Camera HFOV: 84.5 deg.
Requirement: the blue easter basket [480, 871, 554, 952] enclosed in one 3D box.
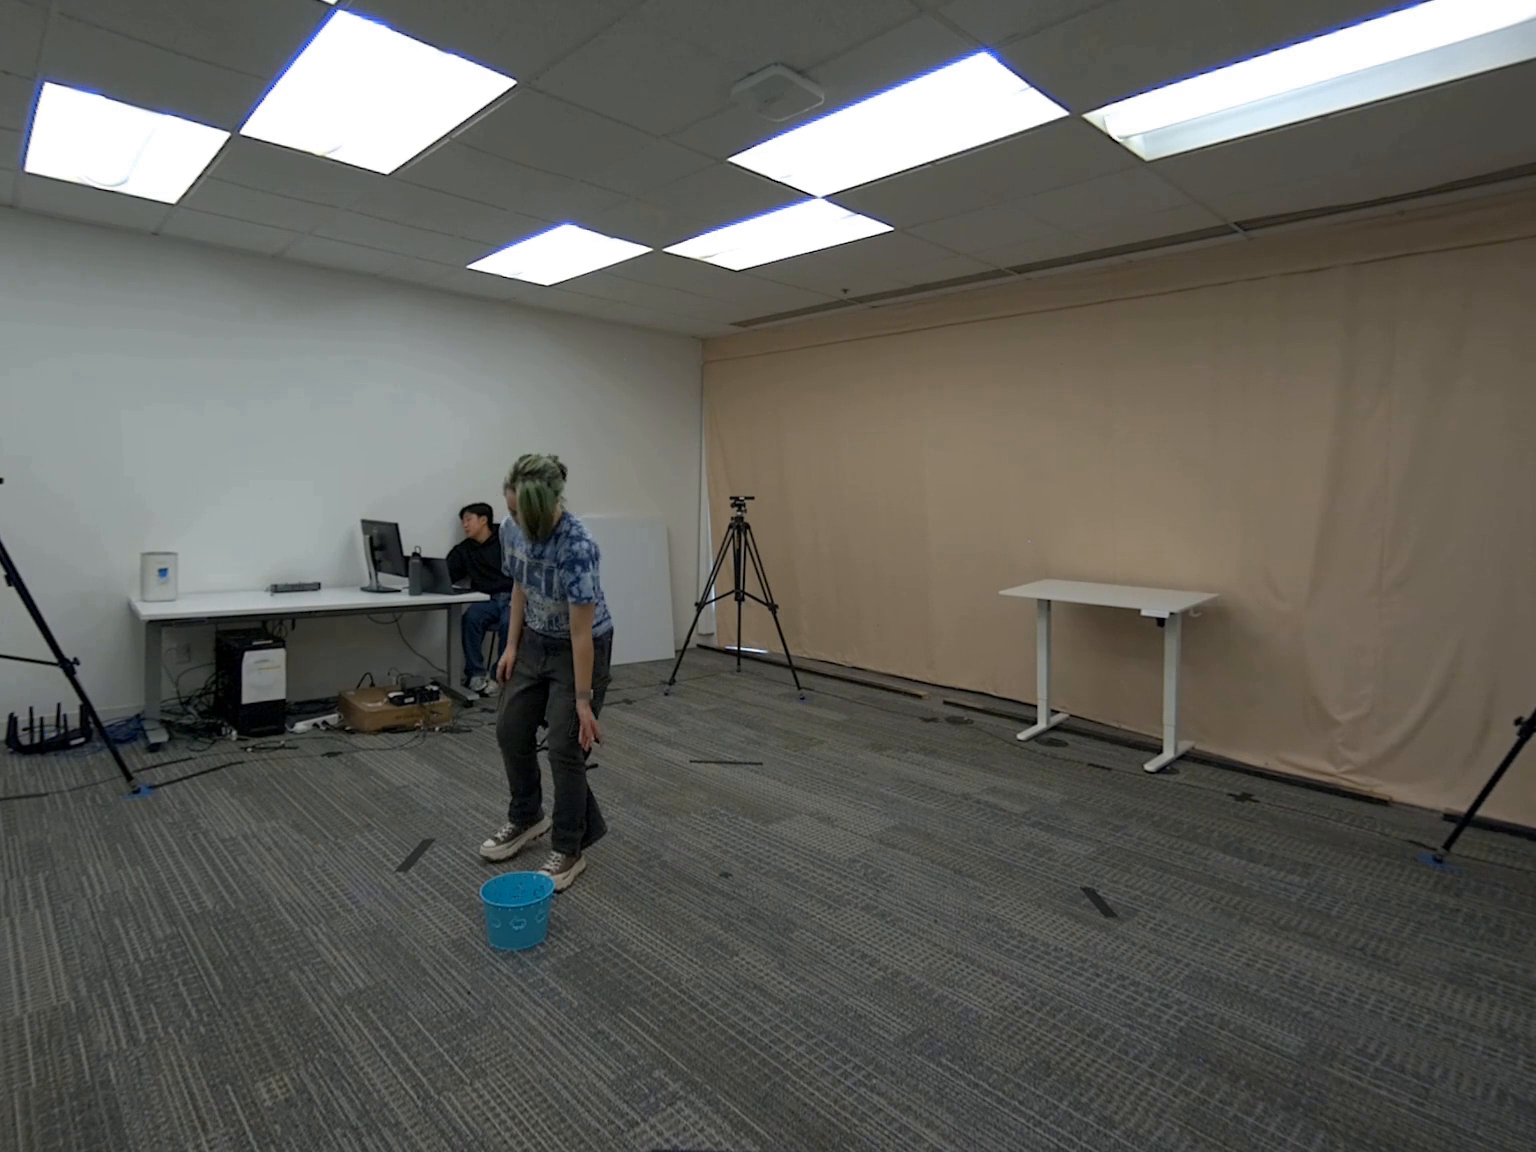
[{"bbox_3d":[-0.796,1.056,2.647,0.243,0.155,0.244,1,5,-1],"label":"blue easter basket"}]
